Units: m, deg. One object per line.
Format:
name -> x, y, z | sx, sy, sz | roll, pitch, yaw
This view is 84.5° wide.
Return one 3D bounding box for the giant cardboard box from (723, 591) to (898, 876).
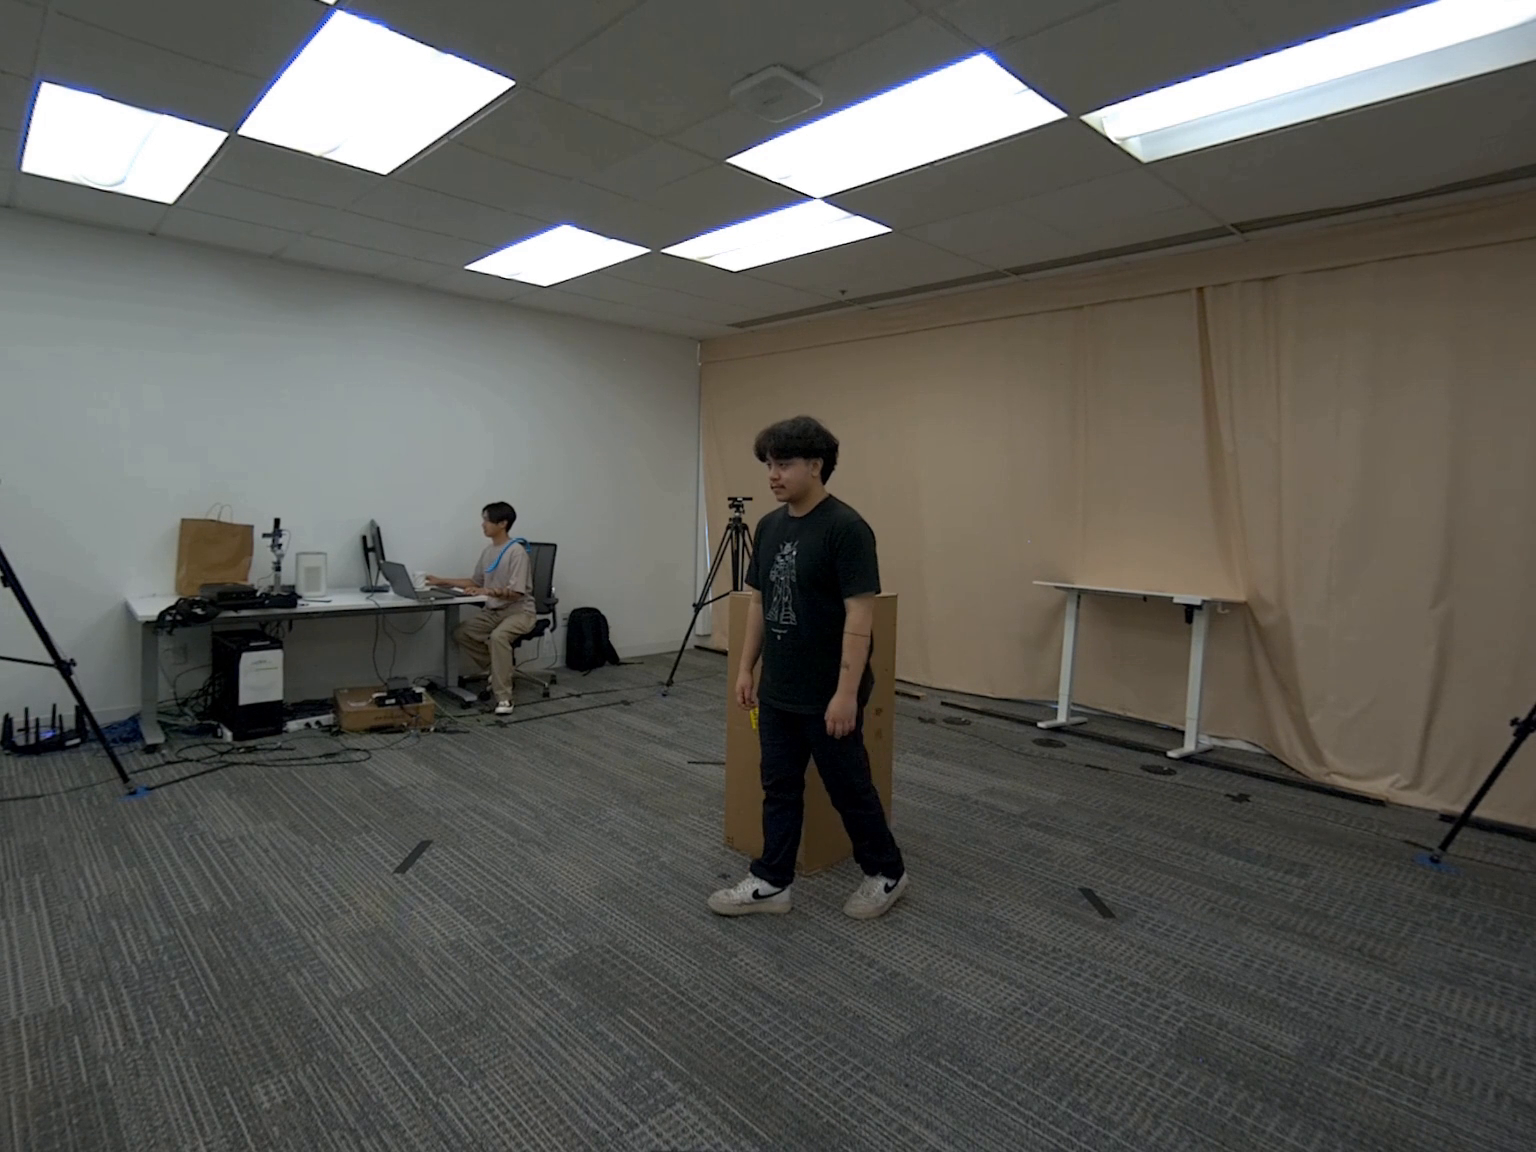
giant cardboard box -> 0.174, 0.578, 3.436 | 0.458, 1.025, 0.570 | 3, 3, 44
